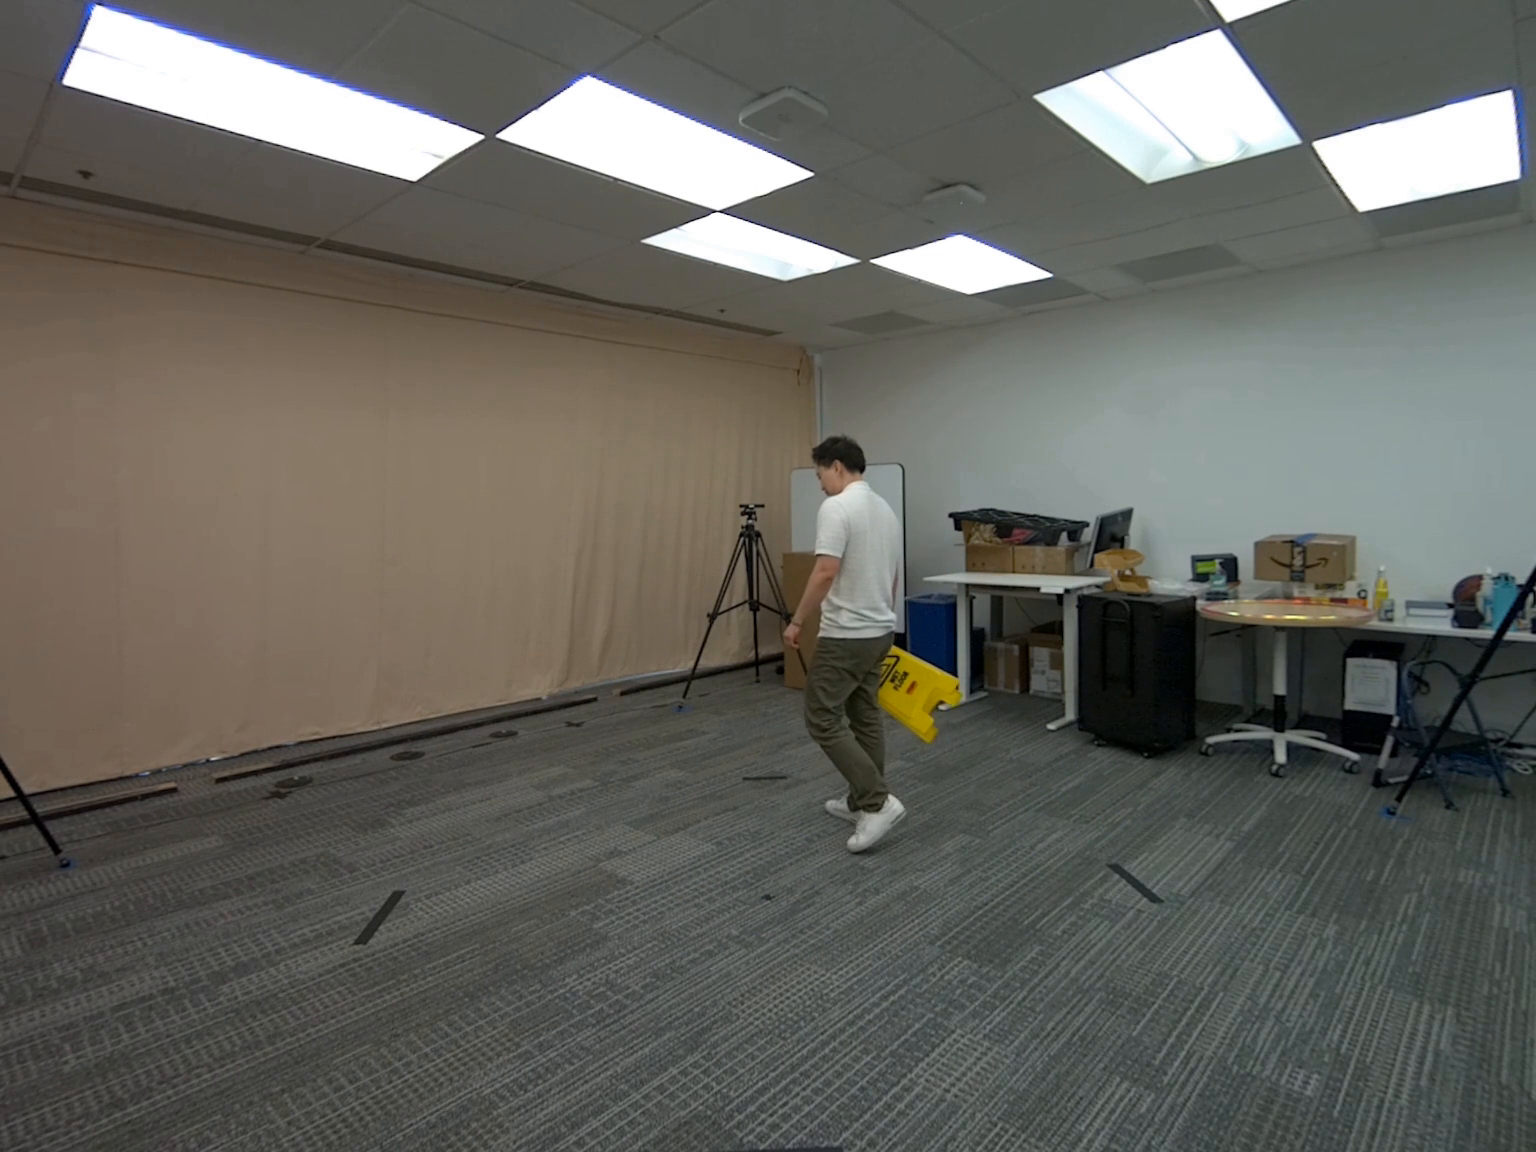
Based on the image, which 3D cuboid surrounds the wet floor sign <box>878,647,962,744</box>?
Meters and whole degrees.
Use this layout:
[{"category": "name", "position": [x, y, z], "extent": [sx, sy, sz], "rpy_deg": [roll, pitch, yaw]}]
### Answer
[{"category": "wet floor sign", "position": [0.540, 0.448, 3.883], "extent": [0.665, 0.282, 0.281], "rpy_deg": [33, -7, 25]}]
